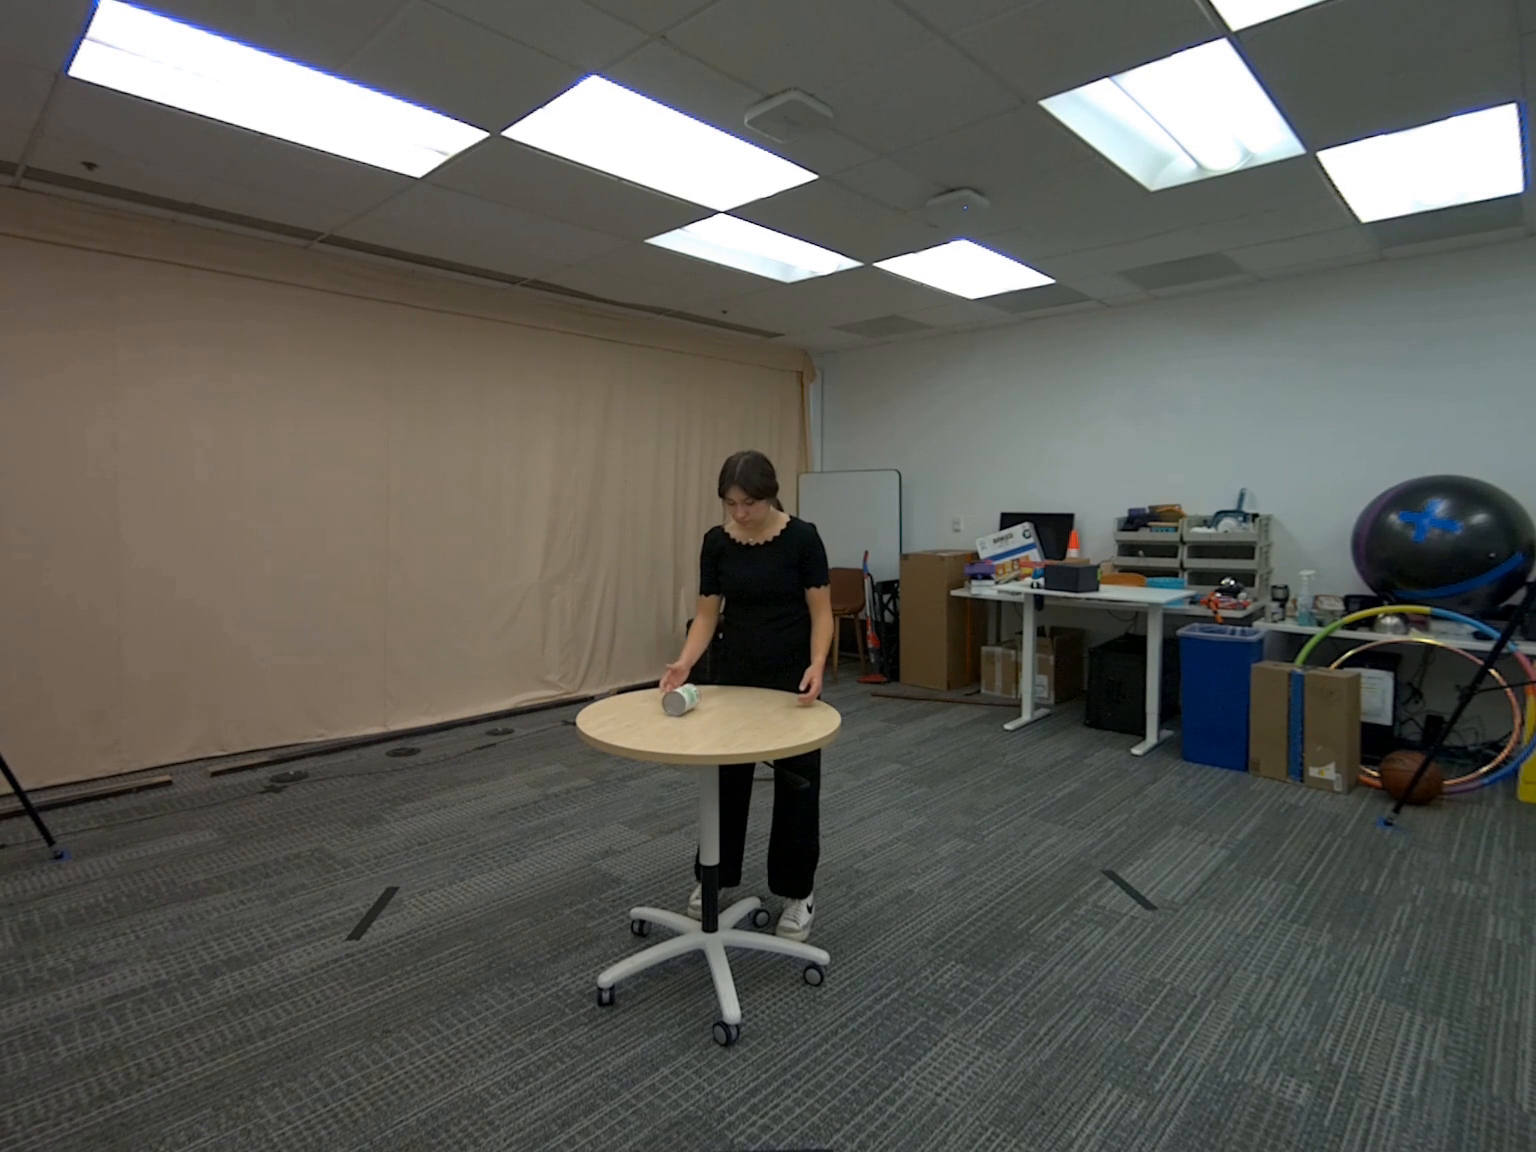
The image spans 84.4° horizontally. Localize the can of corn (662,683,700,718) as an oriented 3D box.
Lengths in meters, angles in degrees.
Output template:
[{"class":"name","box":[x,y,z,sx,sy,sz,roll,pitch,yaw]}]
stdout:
[{"class":"can of corn","box":[-0.246,0.365,2.478,0.075,0.074,0.109,1,5,13]}]
